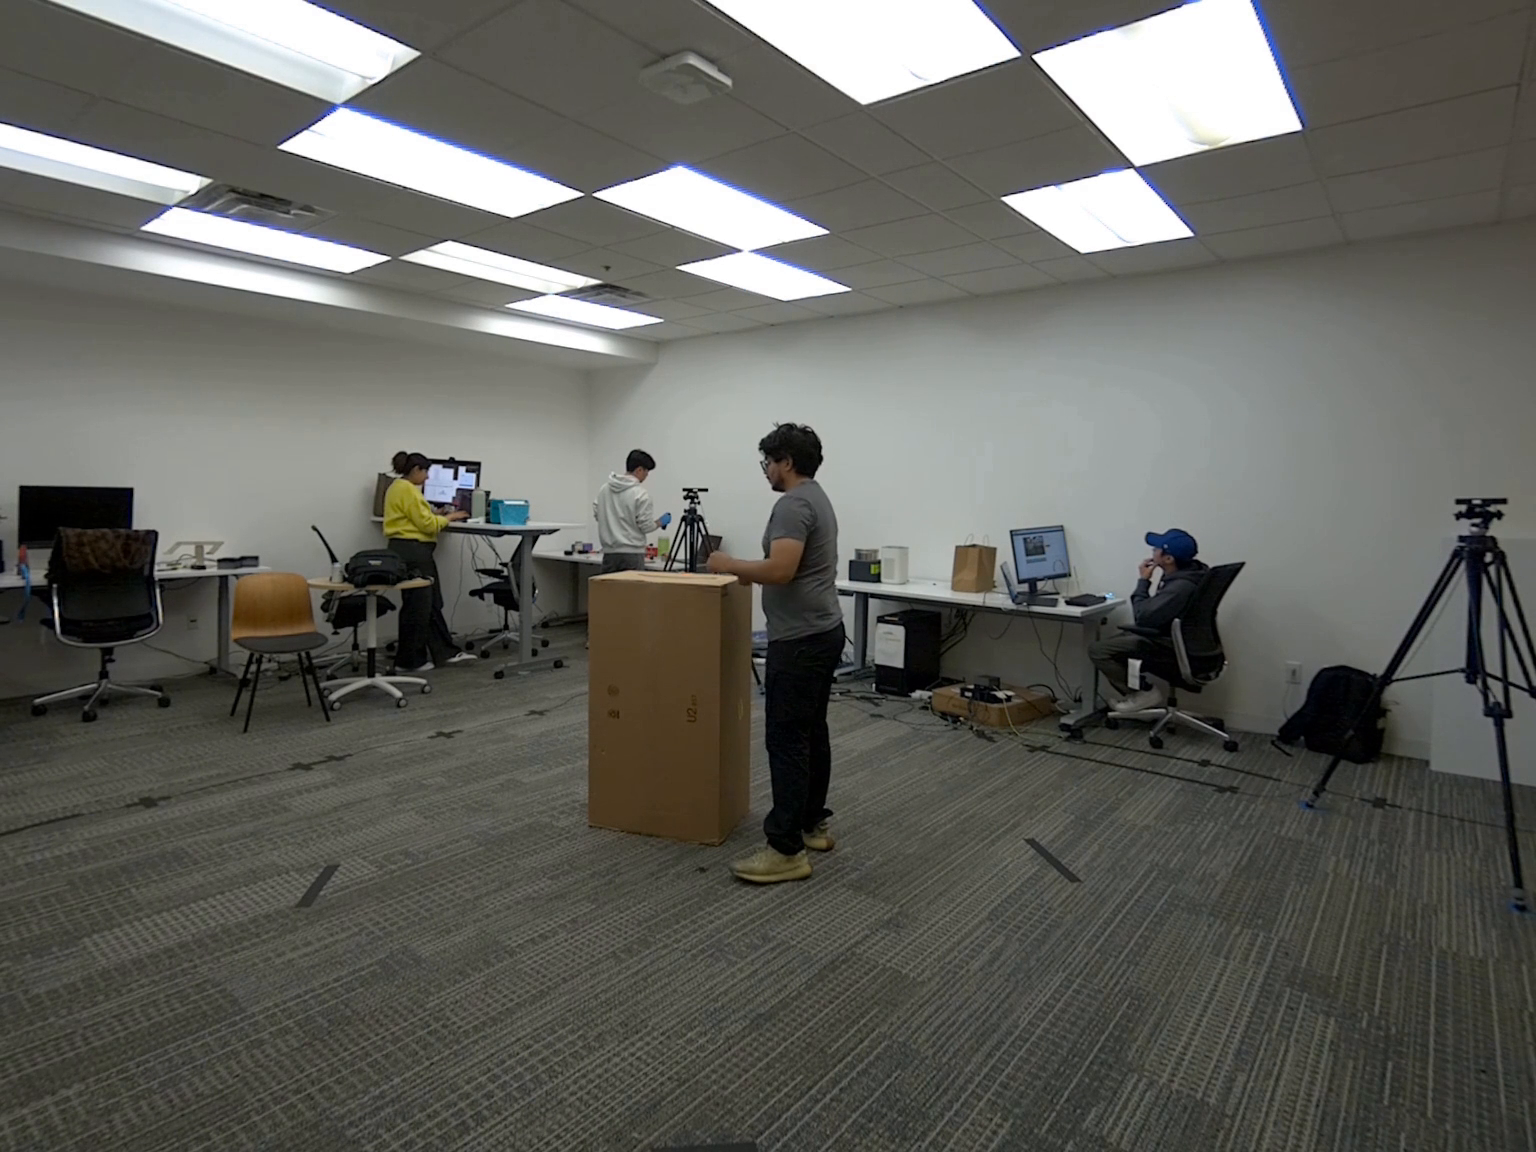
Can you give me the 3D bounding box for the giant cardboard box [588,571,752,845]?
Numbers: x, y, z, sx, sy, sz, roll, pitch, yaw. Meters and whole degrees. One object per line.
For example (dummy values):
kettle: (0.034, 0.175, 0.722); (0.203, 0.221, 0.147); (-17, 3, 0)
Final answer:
giant cardboard box: (-0.419, 0.512, 3.587); (0.589, 1.023, 0.419); (2, 3, 18)
